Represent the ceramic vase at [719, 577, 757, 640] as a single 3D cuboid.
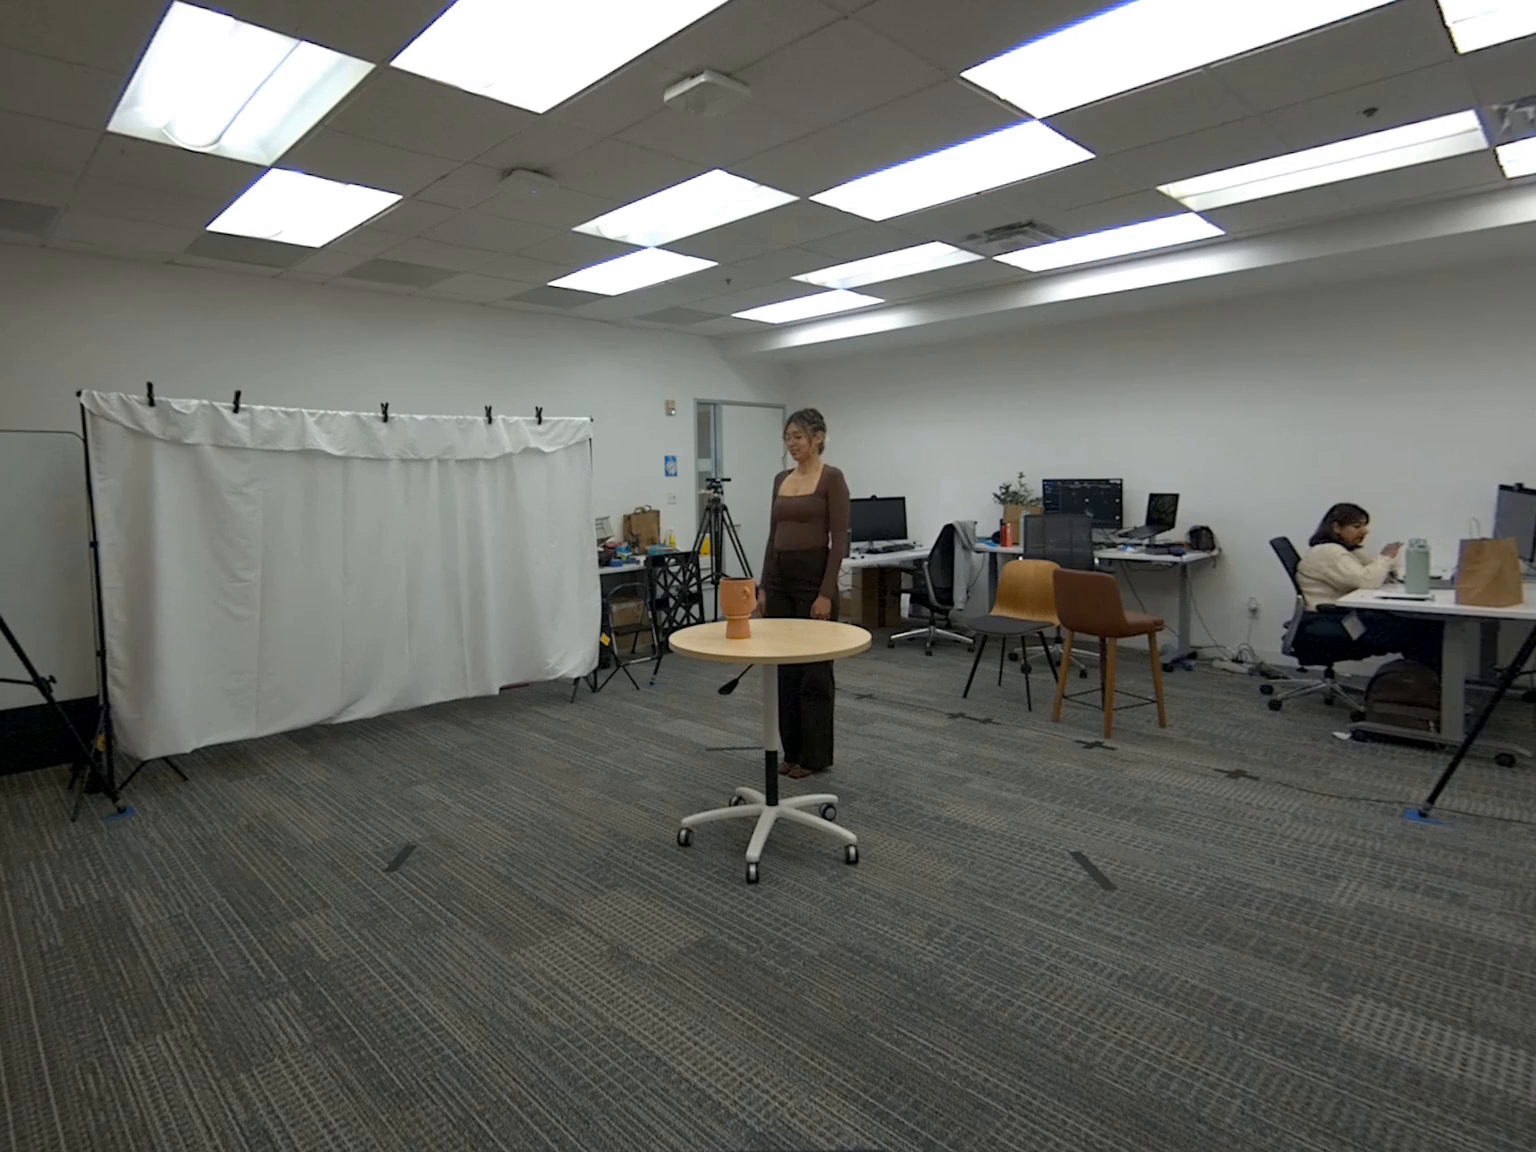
[{"bbox_3d":[-0.117,0.123,3.236,0.136,0.219,0.157,-1,3,14],"label":"ceramic vase"}]
